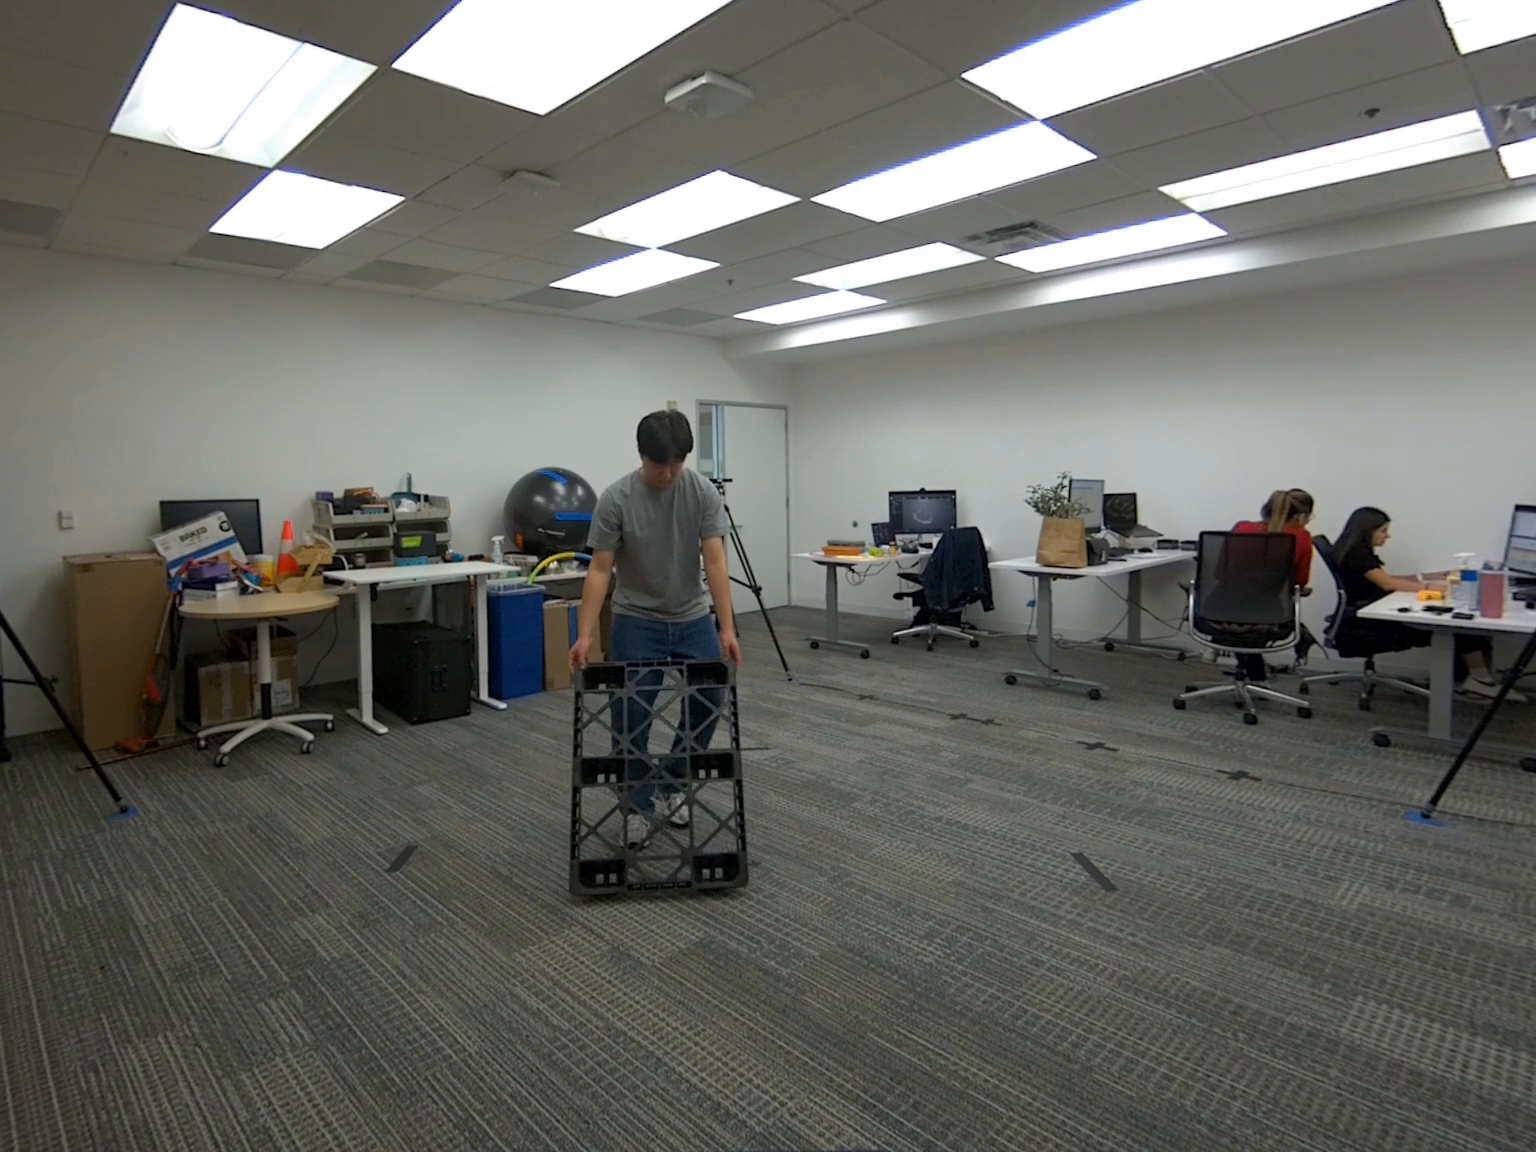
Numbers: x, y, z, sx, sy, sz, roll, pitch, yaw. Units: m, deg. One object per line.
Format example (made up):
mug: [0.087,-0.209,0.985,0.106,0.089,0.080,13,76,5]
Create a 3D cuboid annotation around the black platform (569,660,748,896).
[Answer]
black platform: [-0.396,0.711,3.067,0.603,0.824,0.140,-2,-26,-4]
